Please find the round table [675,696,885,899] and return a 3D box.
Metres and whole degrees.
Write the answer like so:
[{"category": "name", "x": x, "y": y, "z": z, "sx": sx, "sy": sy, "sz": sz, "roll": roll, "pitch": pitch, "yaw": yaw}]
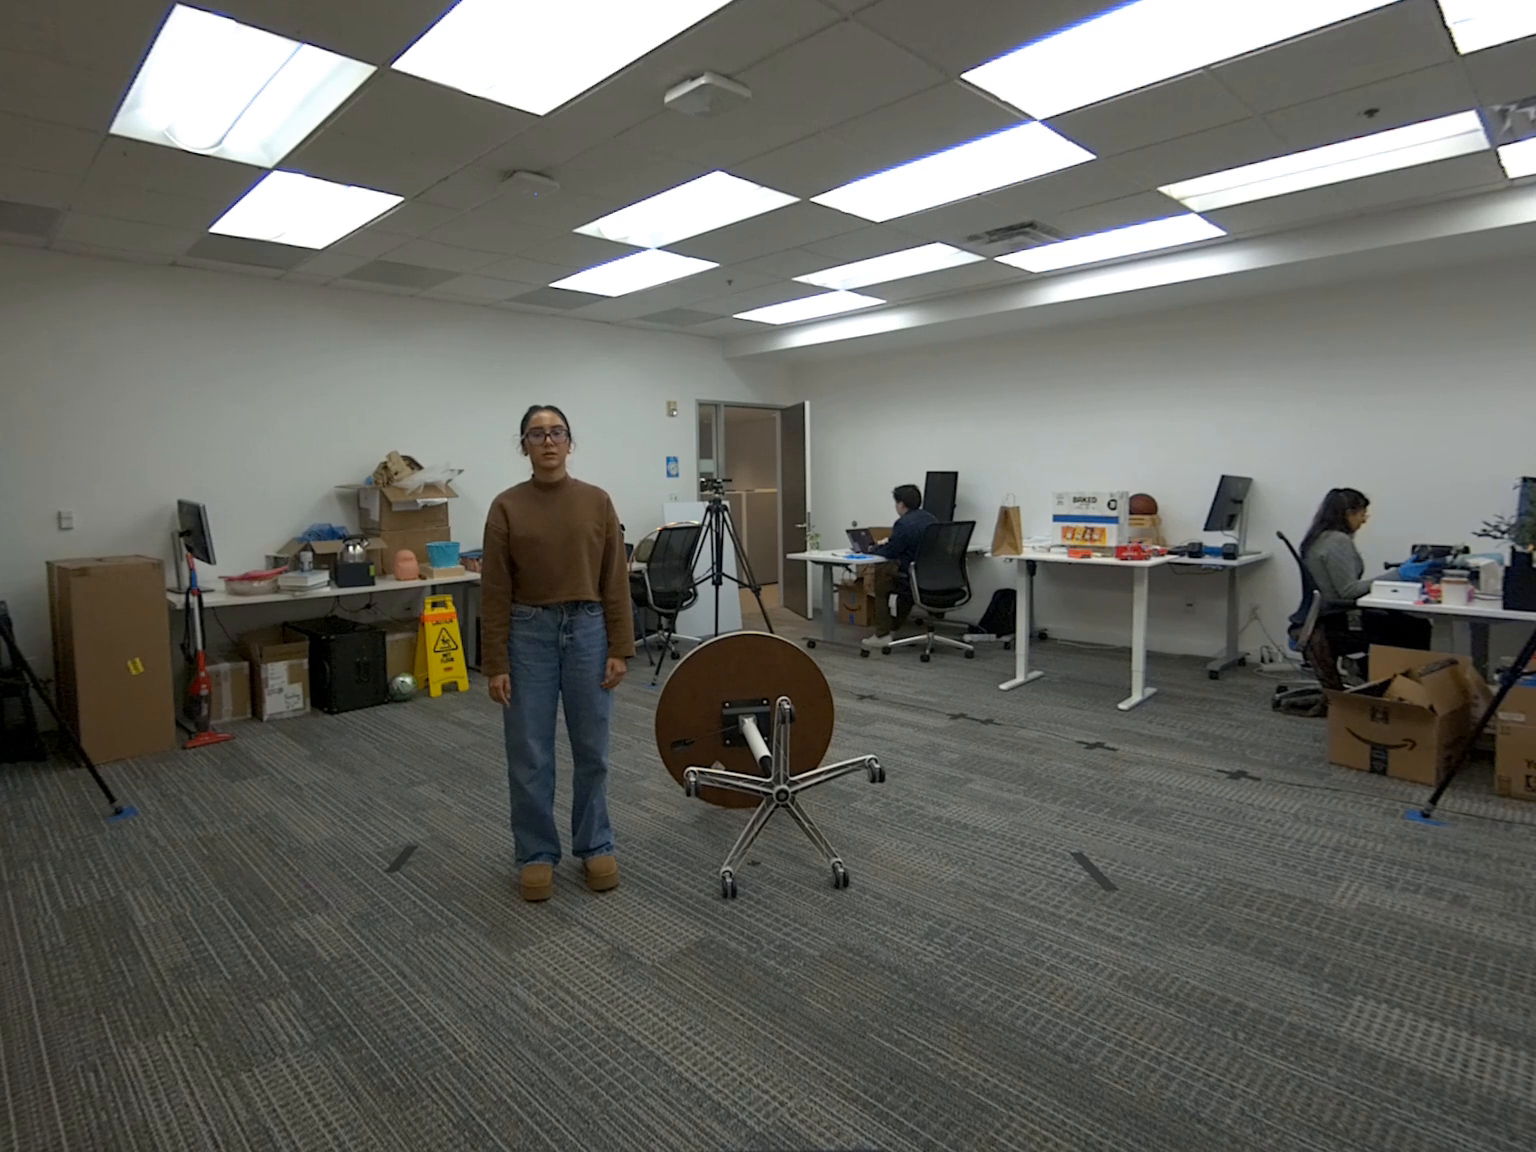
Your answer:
[{"category": "round table", "x": -0.019, "y": 0.691, "z": 3.215, "sx": 0.757, "sy": 0.757, "sz": 0.808, "roll": -2, "pitch": 10, "yaw": -10}]
